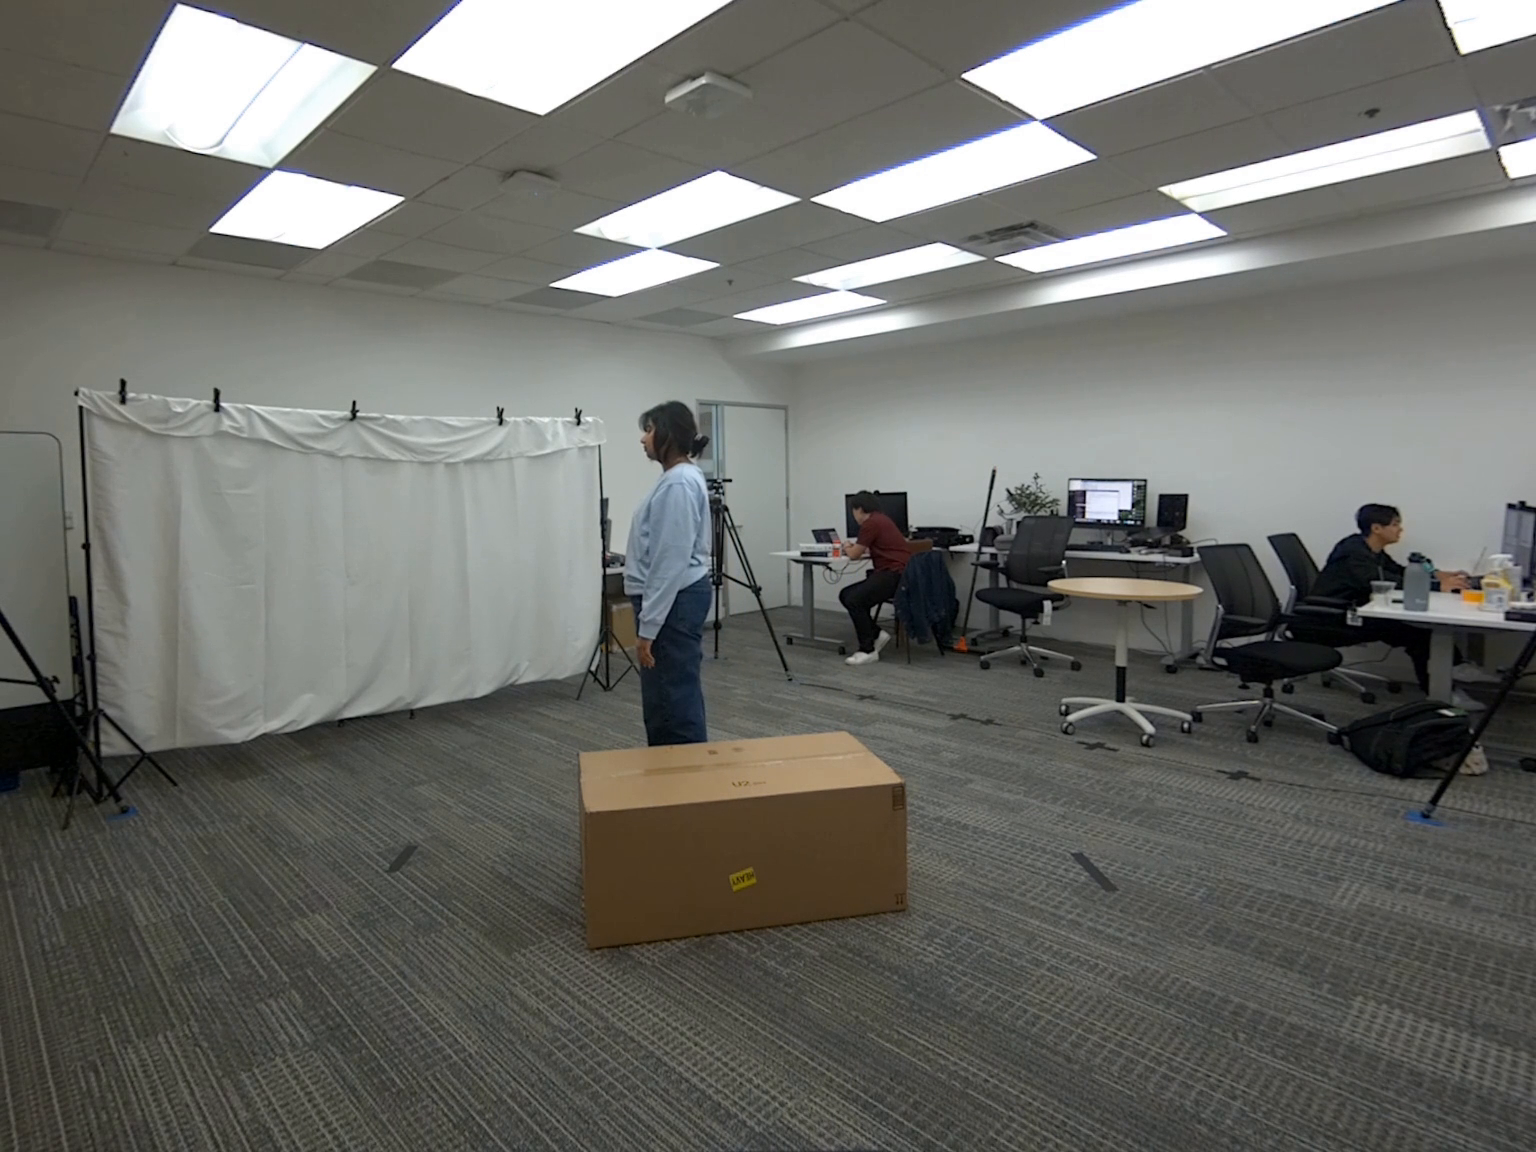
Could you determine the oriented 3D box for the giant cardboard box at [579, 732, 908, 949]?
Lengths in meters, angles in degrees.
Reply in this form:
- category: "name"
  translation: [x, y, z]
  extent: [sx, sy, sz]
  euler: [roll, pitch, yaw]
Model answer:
- category: "giant cardboard box"
  translation: [-0.117, 0.855, 2.913]
  extent: [1.014, 0.424, 0.586]
  euler: [-2, 5, -12]
